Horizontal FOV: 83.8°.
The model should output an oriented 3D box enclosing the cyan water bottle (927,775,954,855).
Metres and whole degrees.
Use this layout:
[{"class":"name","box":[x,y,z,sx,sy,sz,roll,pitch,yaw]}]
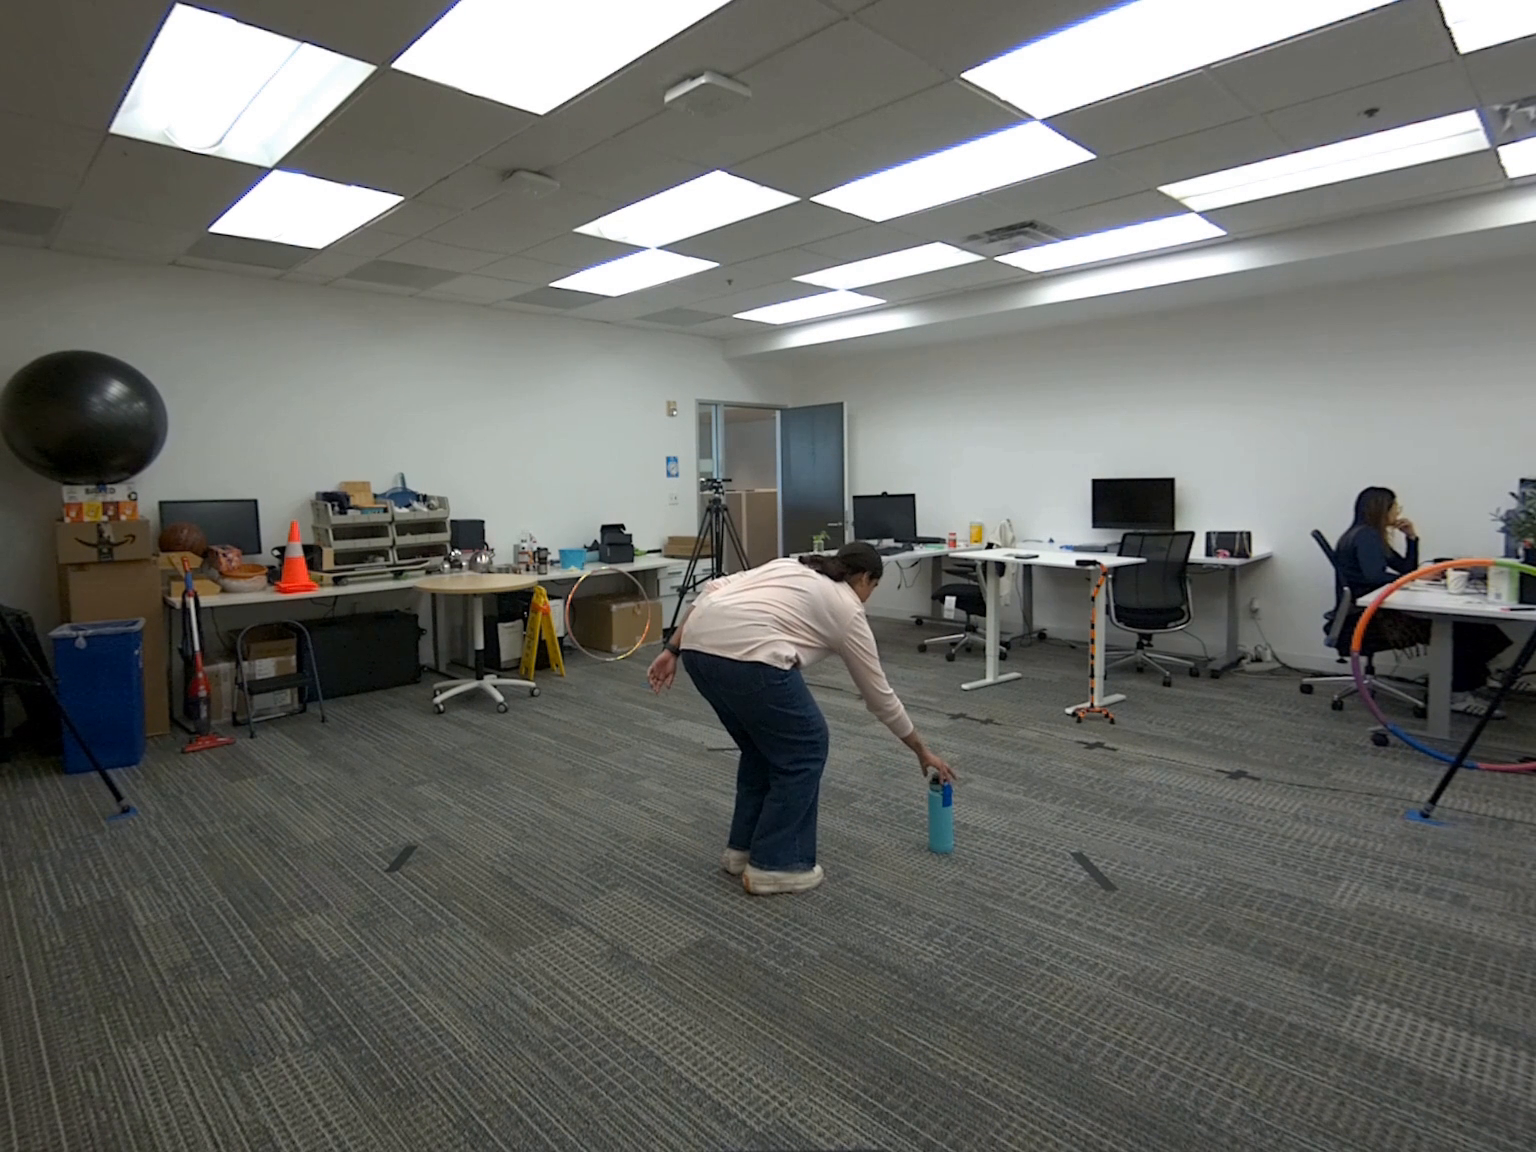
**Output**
[{"class":"cyan water bottle","box":[0.646,0.878,3.192,0.092,0.282,0.093,-2,4,-1]}]
